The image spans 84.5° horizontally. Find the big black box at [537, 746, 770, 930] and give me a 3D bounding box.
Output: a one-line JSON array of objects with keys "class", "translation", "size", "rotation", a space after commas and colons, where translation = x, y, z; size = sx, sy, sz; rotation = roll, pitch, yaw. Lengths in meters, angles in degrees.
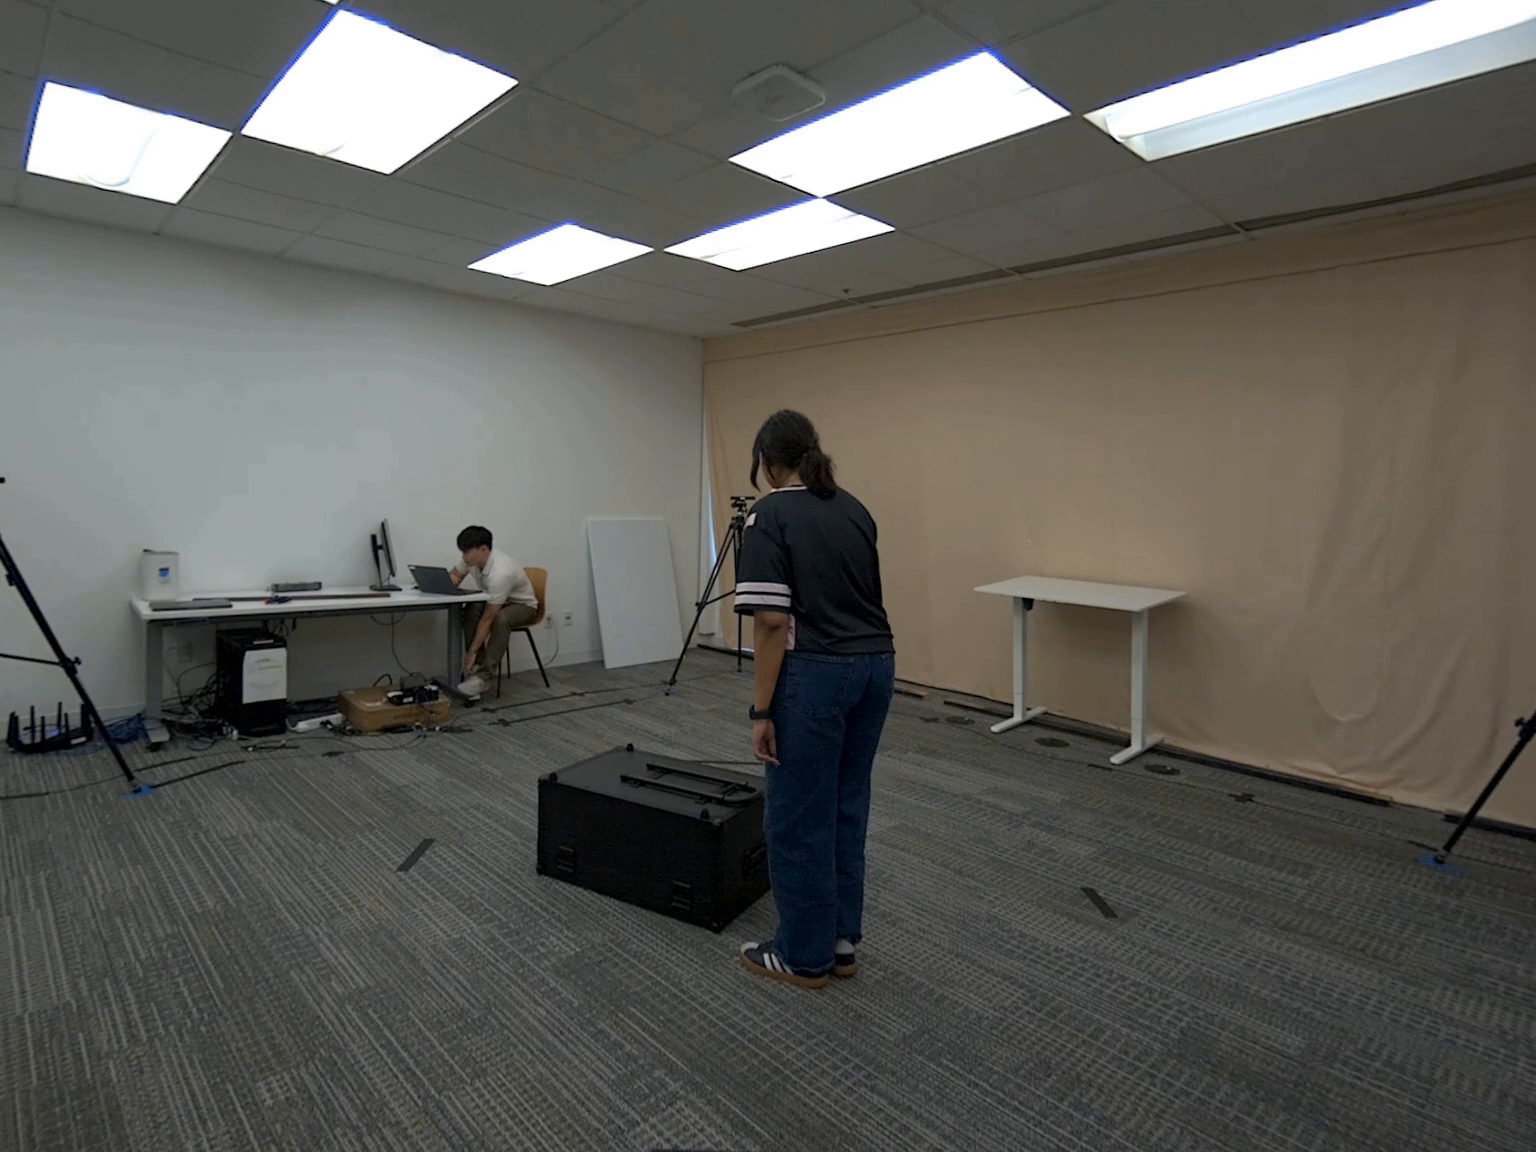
[{"class": "big black box", "translation": [-0.425, 0.903, 3.090], "size": [0.880, 0.395, 0.511], "rotation": [3, 5, 30]}]
